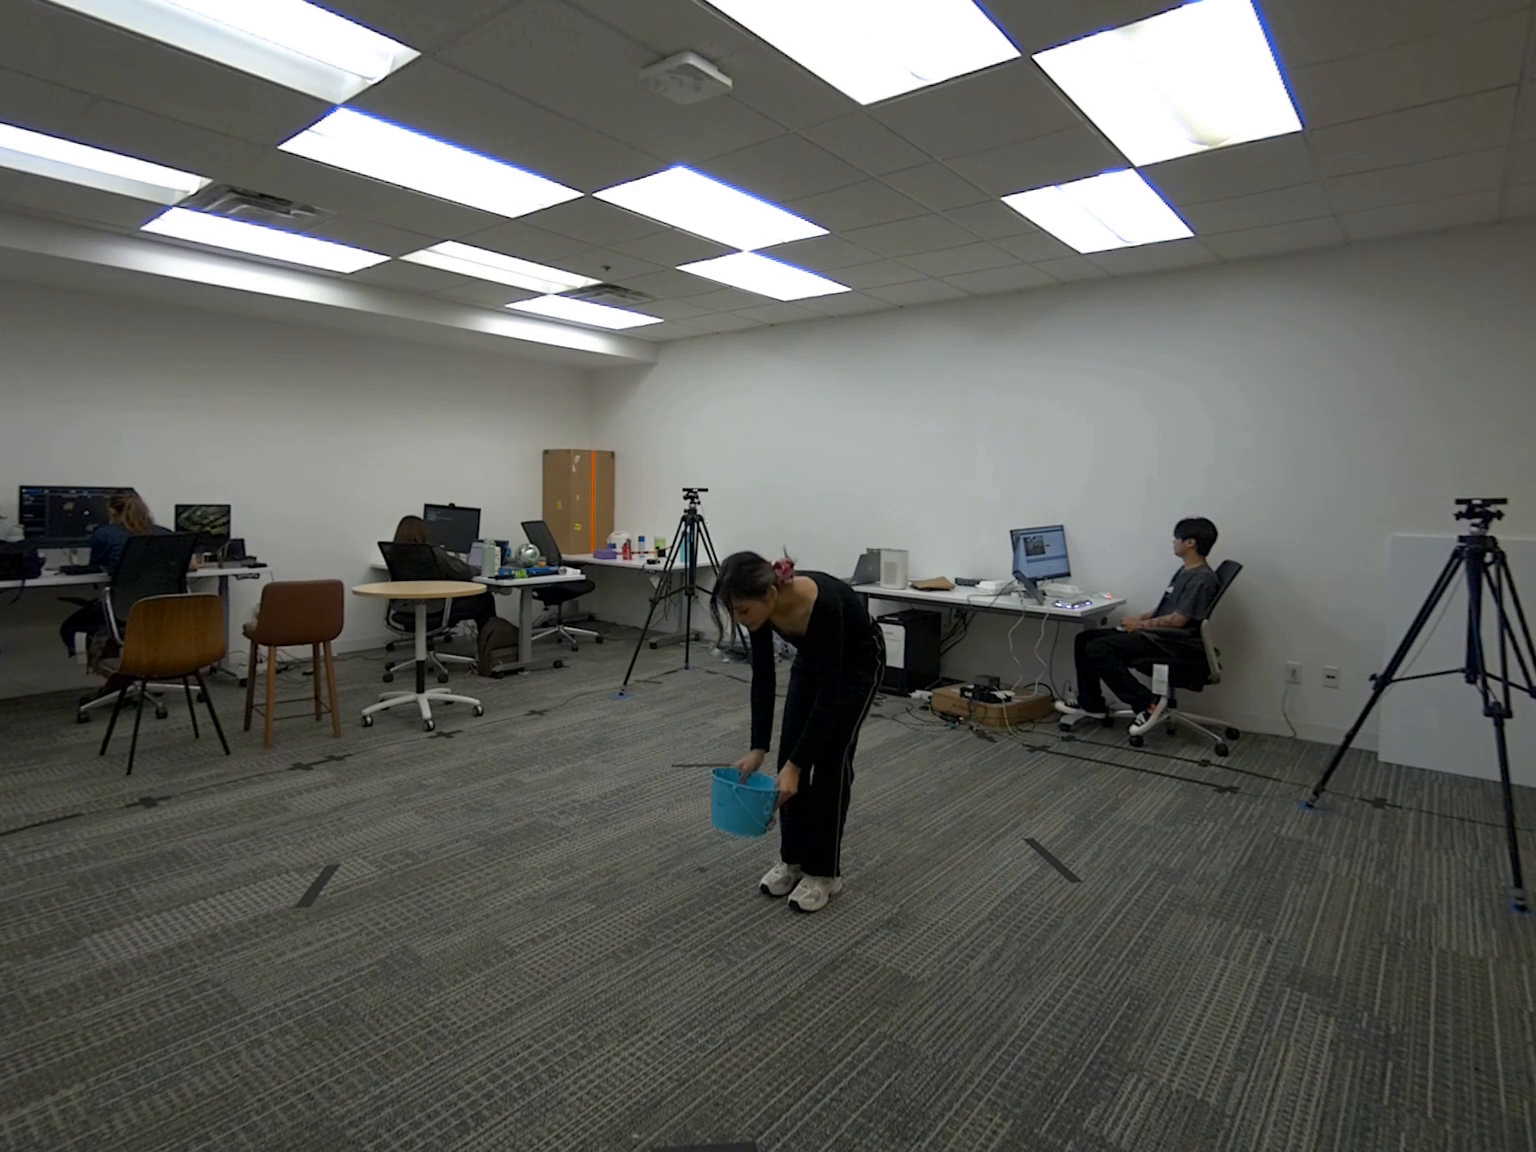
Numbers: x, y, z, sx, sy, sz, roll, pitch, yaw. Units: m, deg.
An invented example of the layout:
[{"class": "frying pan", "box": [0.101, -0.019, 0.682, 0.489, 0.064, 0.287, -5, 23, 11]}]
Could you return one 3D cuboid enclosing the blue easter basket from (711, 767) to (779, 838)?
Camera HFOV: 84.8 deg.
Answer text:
[{"class": "blue easter basket", "box": [-0.079, 0.707, 2.685, 0.243, 0.156, 0.243, 11, -2, -1]}]
